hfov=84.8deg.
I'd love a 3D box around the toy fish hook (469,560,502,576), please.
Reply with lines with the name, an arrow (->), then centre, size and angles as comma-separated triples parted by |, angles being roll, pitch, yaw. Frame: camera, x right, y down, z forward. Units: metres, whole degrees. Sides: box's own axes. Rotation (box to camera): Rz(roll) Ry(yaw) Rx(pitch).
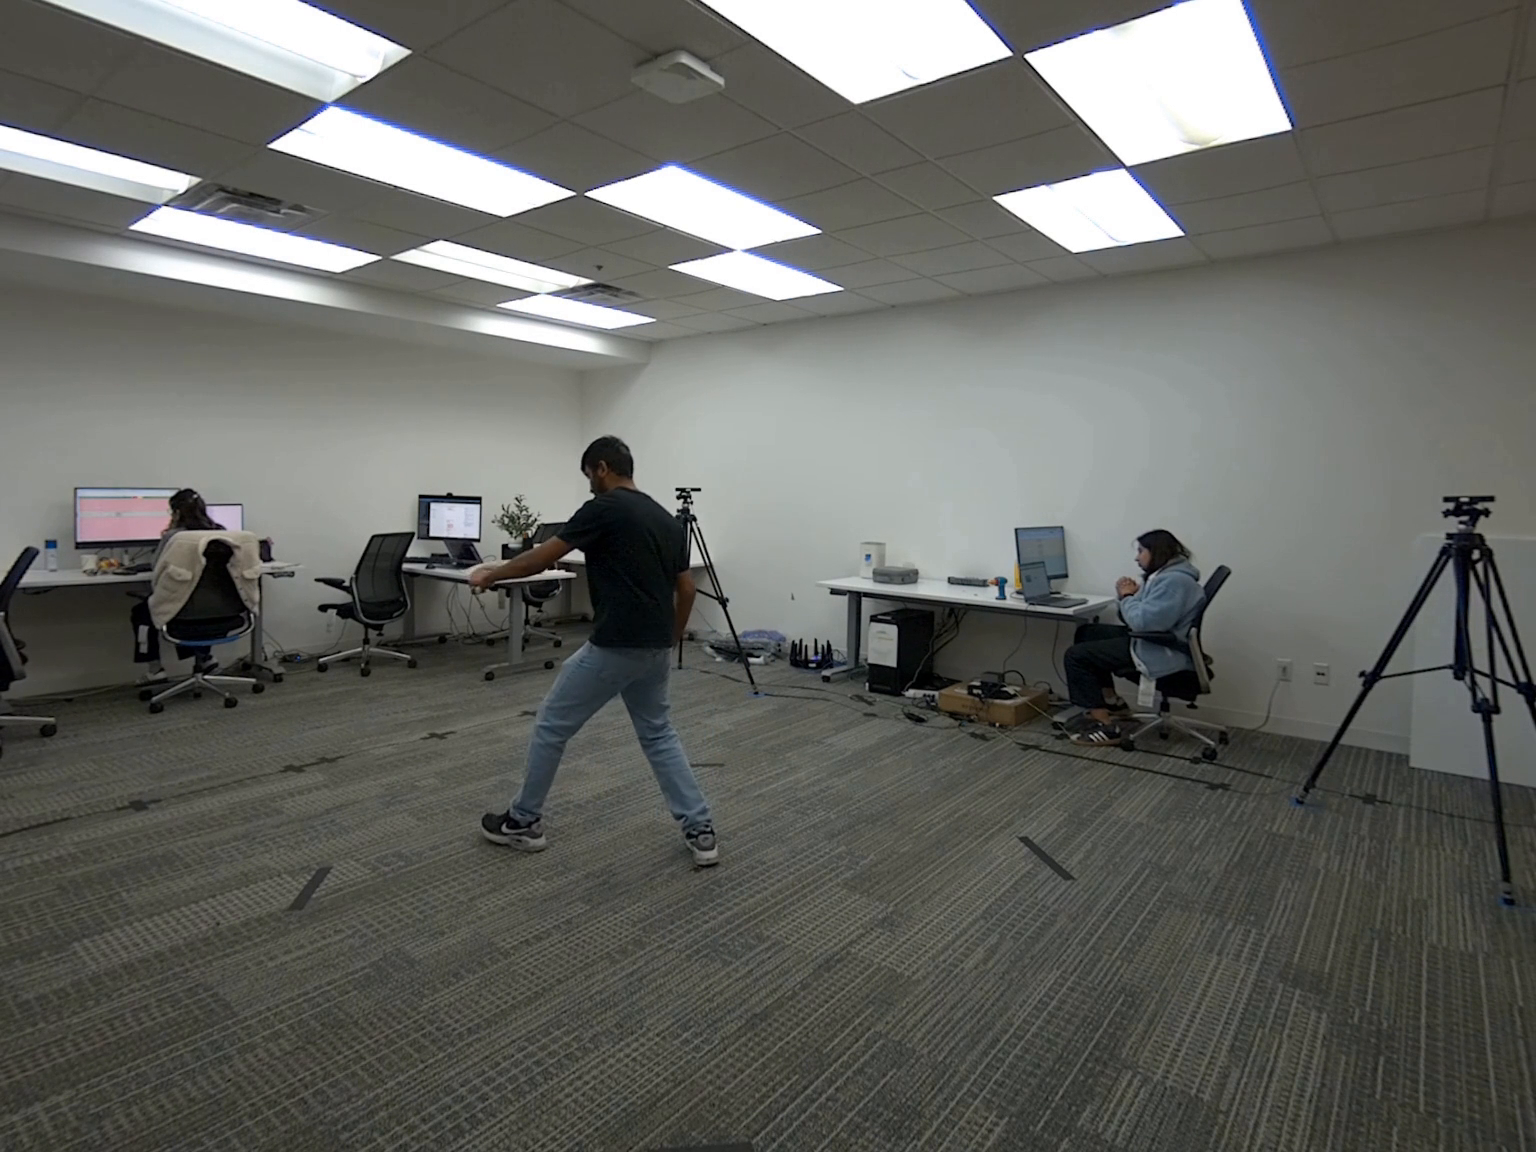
toy fish hook -> -1.173, 0.018, 3.468 | 0.223, 0.047, 0.516 | -10, 14, -6
